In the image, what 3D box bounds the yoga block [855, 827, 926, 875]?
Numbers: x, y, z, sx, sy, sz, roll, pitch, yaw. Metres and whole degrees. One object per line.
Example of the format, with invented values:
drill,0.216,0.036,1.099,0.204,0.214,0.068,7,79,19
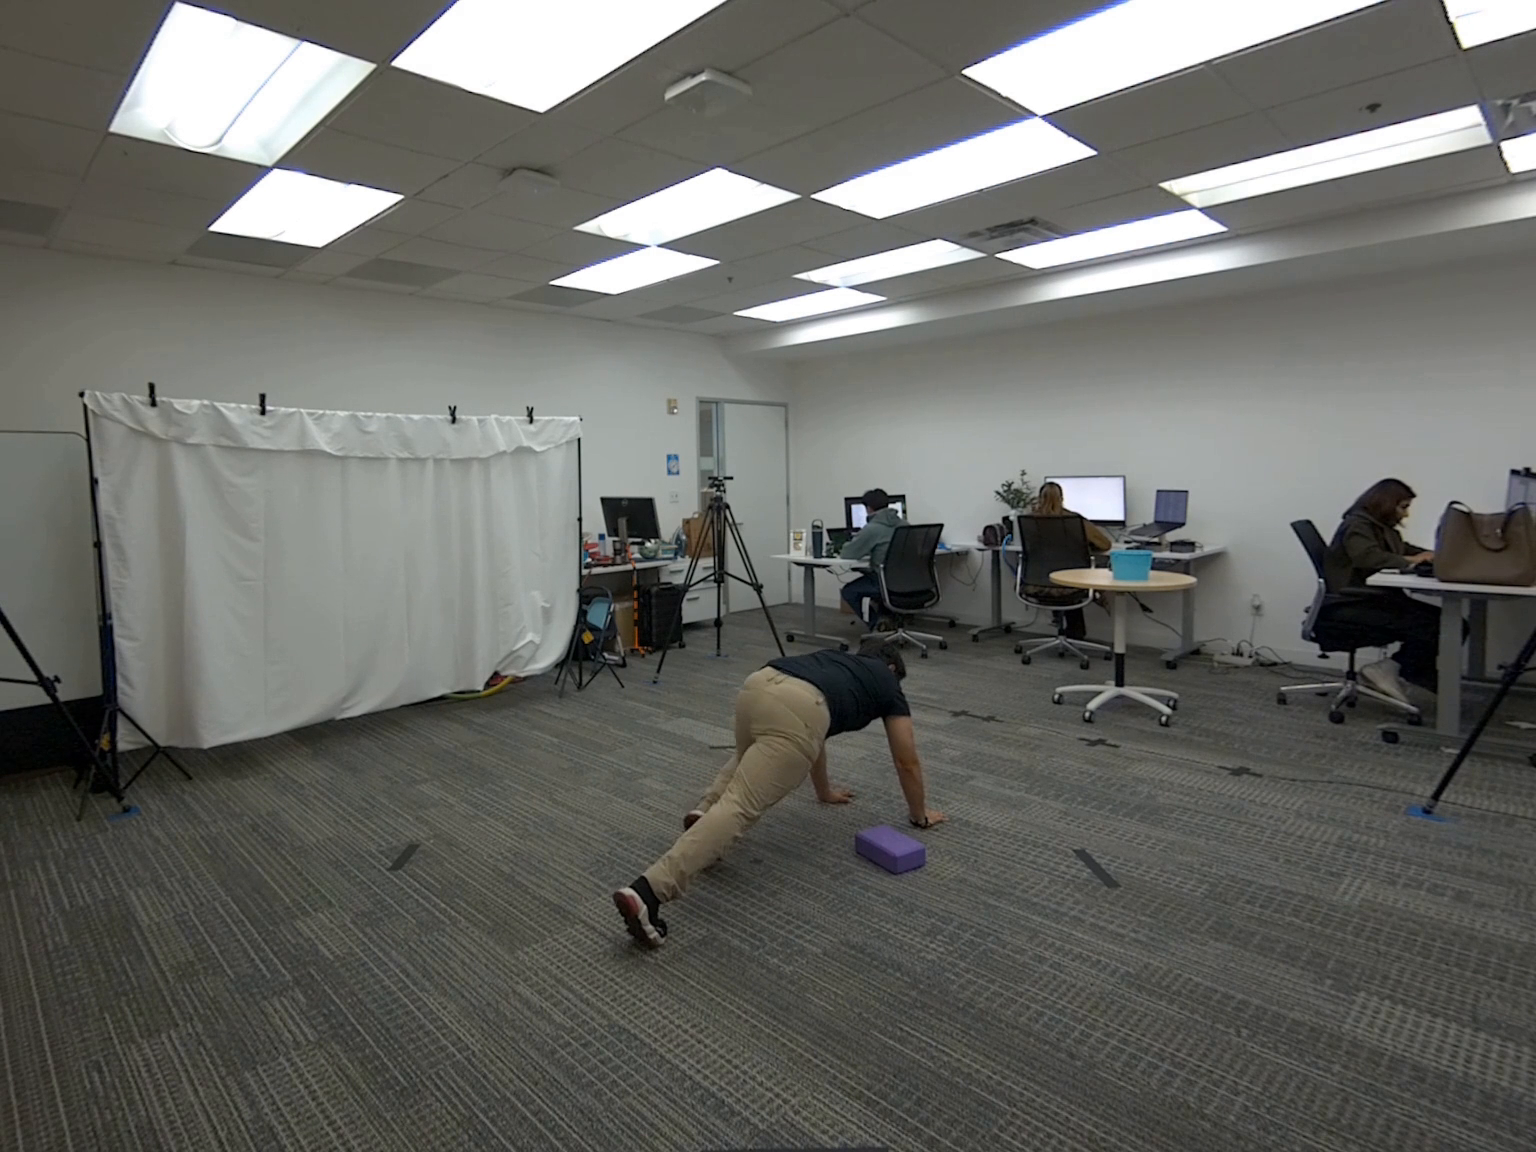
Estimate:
yoga block,0.446,0.984,3.095,0.145,0.076,0.236,-5,8,-31
